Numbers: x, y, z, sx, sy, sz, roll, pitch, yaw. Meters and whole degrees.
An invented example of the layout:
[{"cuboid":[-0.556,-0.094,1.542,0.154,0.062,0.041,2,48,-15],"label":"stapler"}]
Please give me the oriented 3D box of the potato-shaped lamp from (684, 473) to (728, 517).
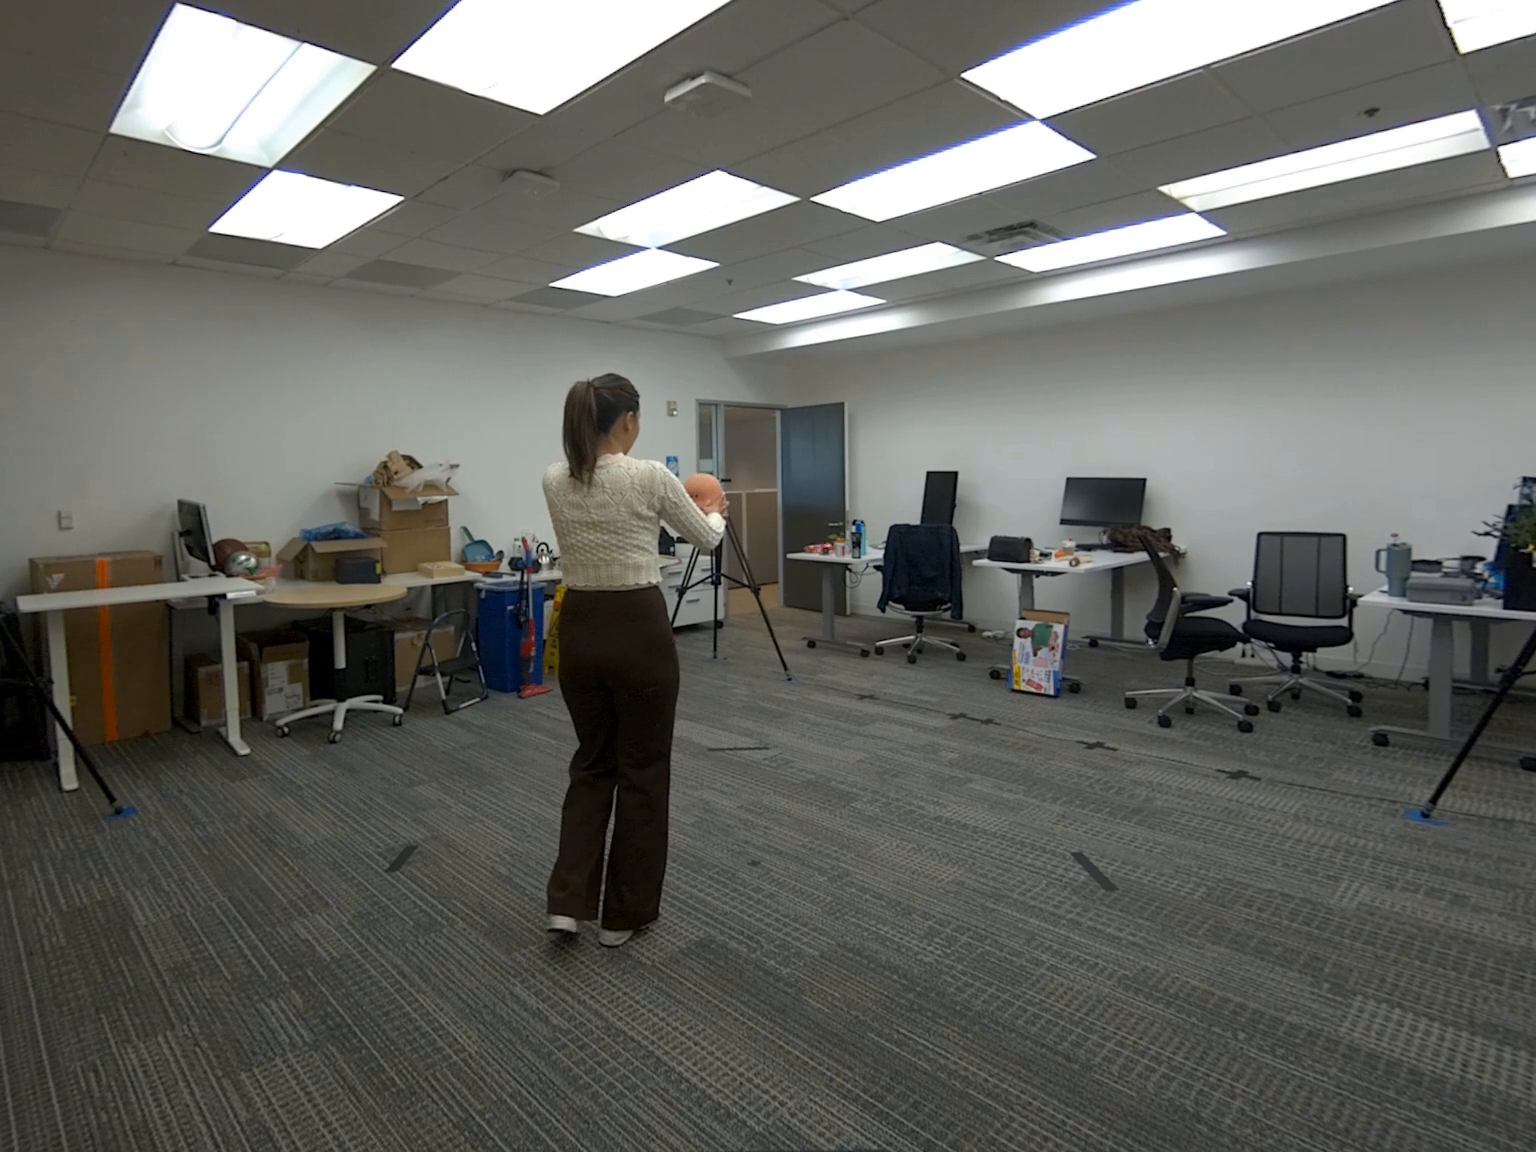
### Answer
[{"cuboid":[-0.232,-0.273,3.069,0.168,0.198,0.168,1,2,25],"label":"potato-shaped lamp"}]
